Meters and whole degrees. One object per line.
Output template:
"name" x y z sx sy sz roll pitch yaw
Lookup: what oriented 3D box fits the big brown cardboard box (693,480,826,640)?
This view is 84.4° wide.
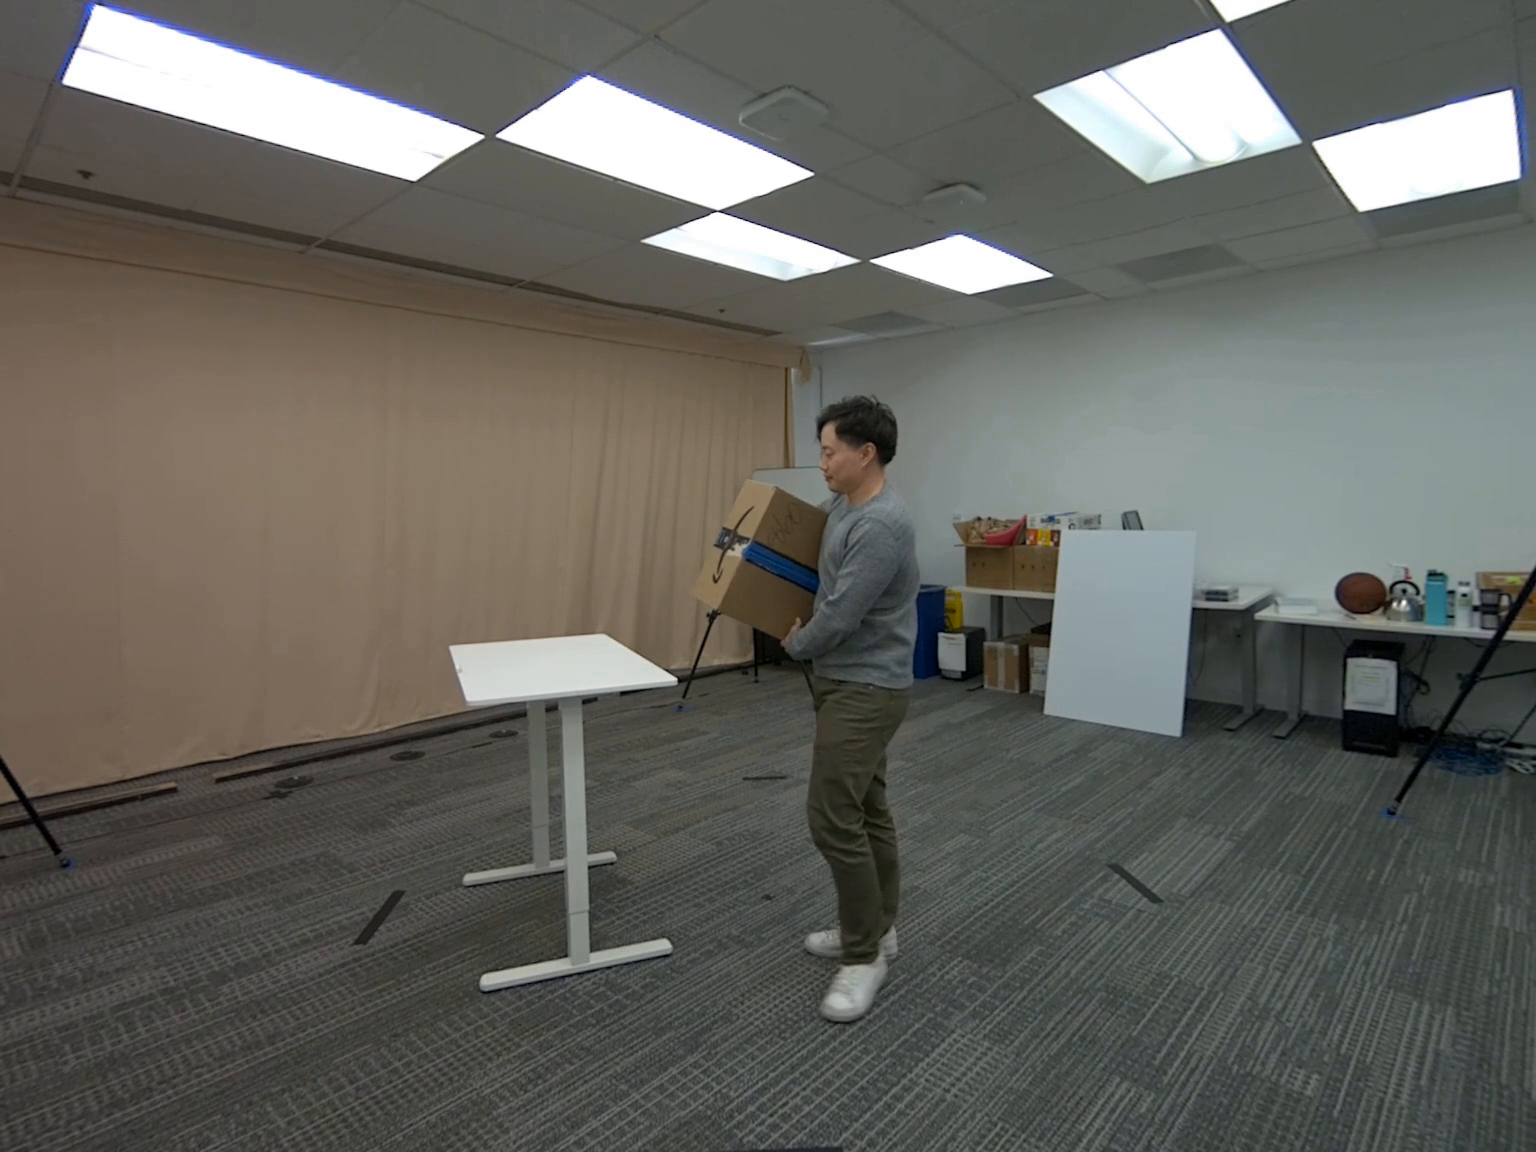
"big brown cardboard box" 0.112 0.007 2.724 0.572 0.417 0.240 25 -1 -26
